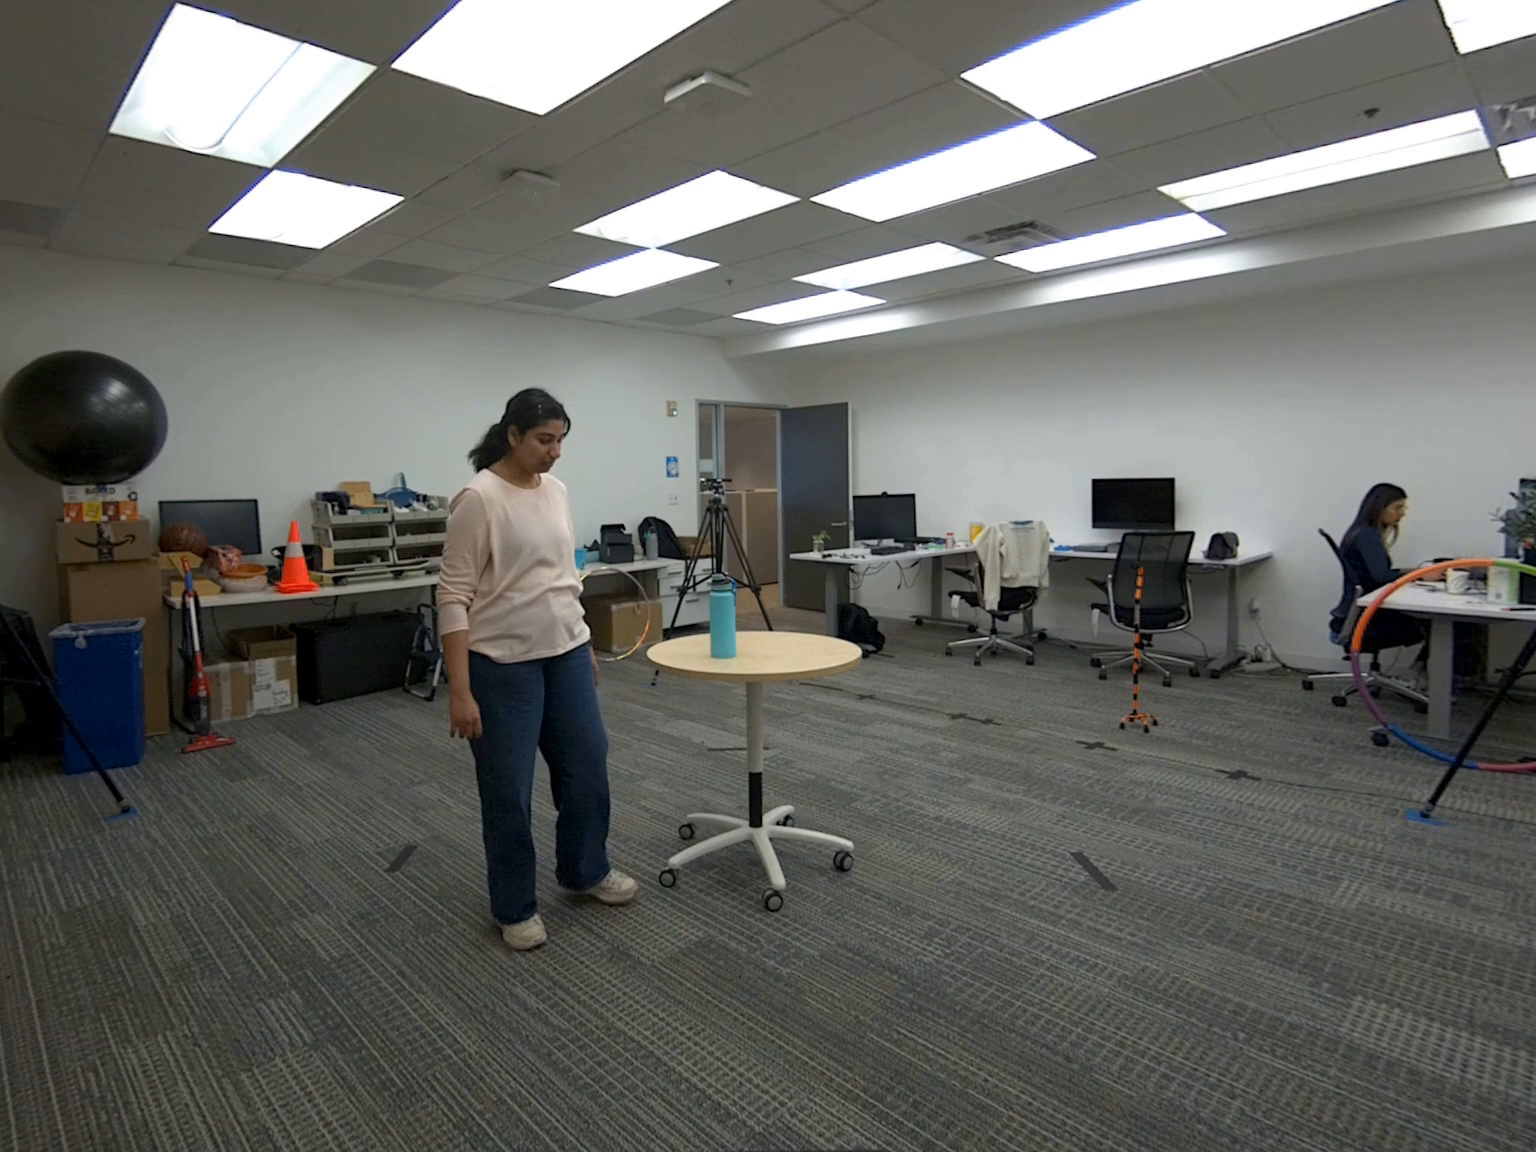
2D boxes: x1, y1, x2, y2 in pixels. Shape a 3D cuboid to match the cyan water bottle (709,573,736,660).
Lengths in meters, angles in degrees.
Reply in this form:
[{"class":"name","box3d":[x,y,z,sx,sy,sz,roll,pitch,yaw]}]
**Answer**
[{"class":"cyan water bottle","box3d":[-0.151,0.138,2.954,0.092,0.282,0.093,0,4,-2]}]
